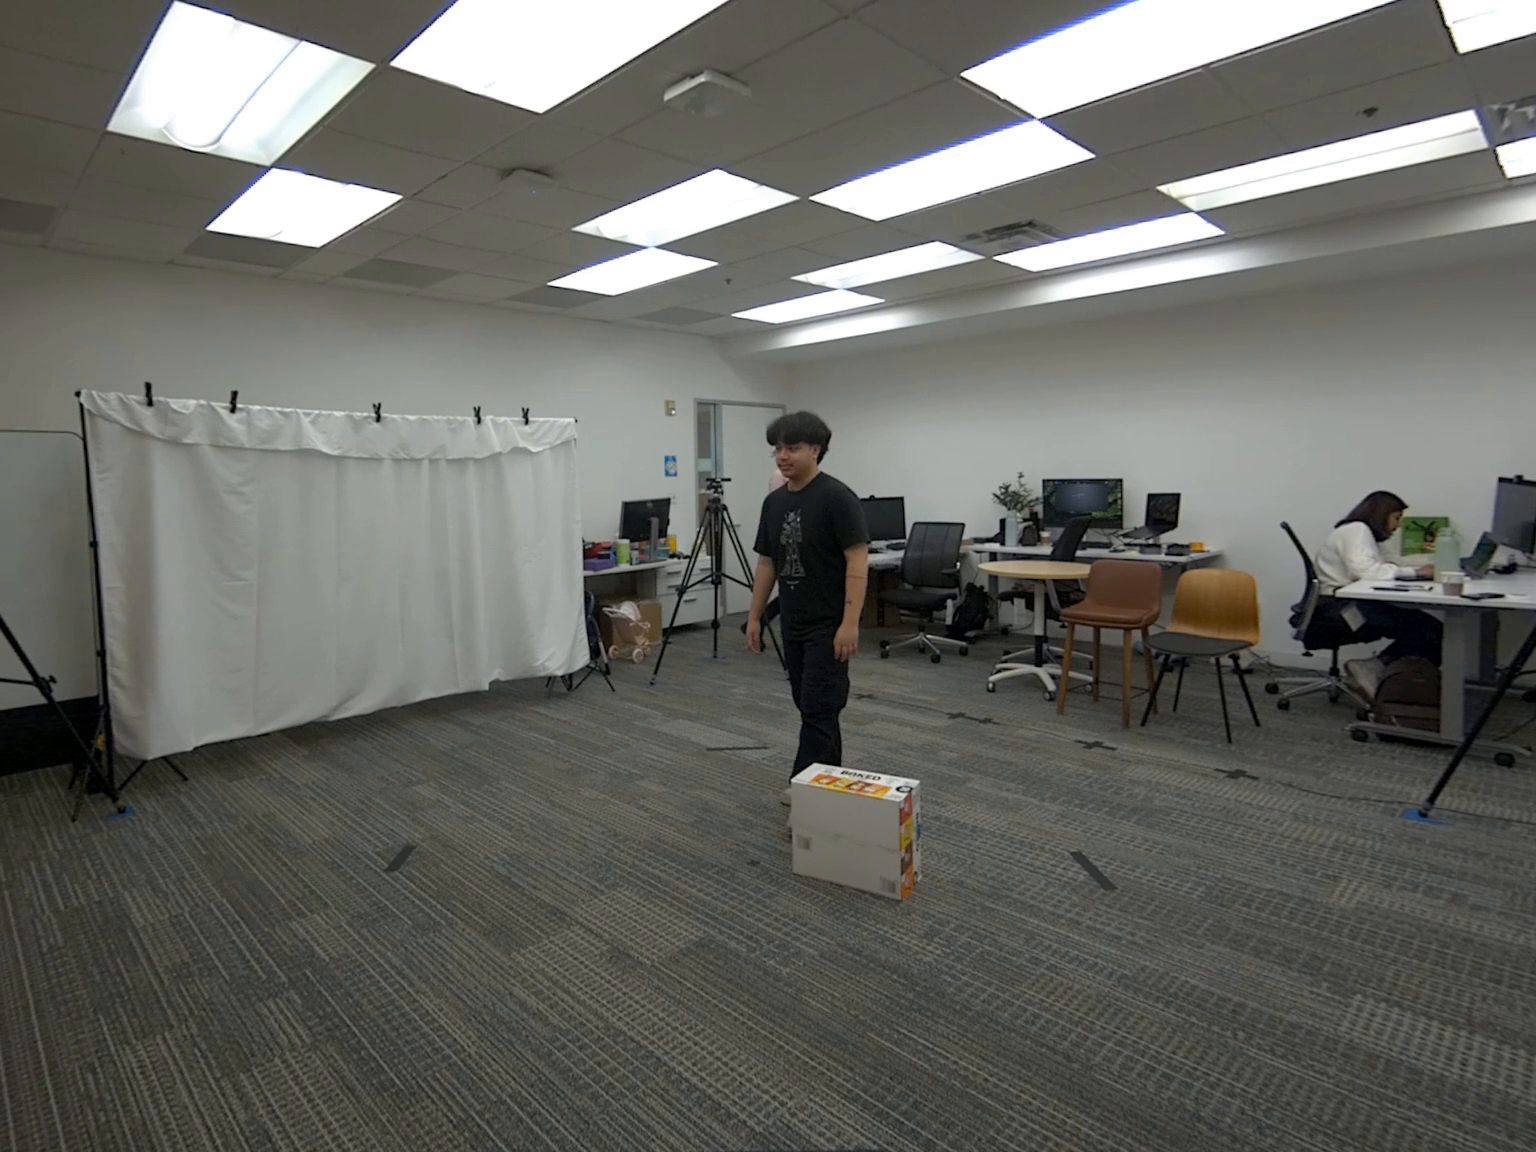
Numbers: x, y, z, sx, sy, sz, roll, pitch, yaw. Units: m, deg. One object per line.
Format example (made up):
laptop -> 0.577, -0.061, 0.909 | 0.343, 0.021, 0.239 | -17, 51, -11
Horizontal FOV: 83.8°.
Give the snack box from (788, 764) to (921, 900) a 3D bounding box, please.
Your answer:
snack box -> 0.307, 0.880, 2.980 | 0.416, 0.339, 0.201 | 1, 5, 31
